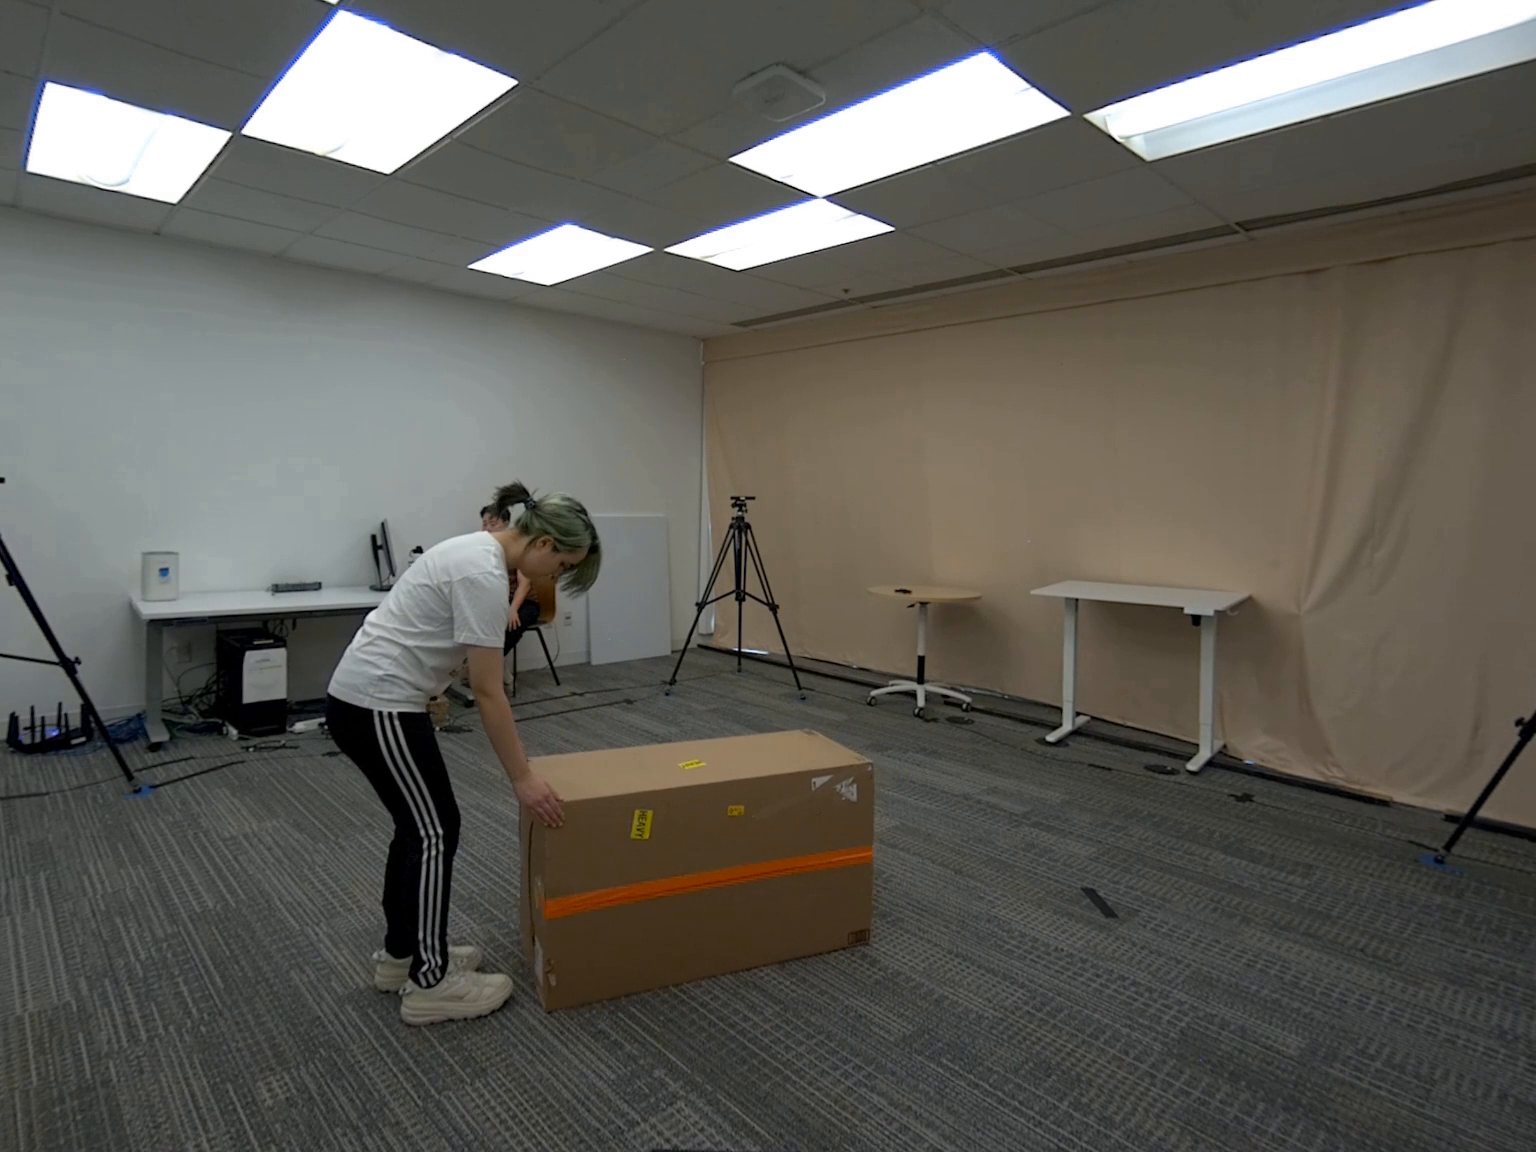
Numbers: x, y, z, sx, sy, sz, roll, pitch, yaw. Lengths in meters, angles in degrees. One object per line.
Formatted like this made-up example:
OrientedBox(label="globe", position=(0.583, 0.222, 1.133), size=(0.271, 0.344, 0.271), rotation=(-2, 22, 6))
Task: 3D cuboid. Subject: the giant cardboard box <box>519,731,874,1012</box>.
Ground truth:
OrientedBox(label="giant cardboard box", position=(-0.224, 0.858, 2.622), size=(1.009, 0.582, 0.456), rotation=(-1, 5, -24))
